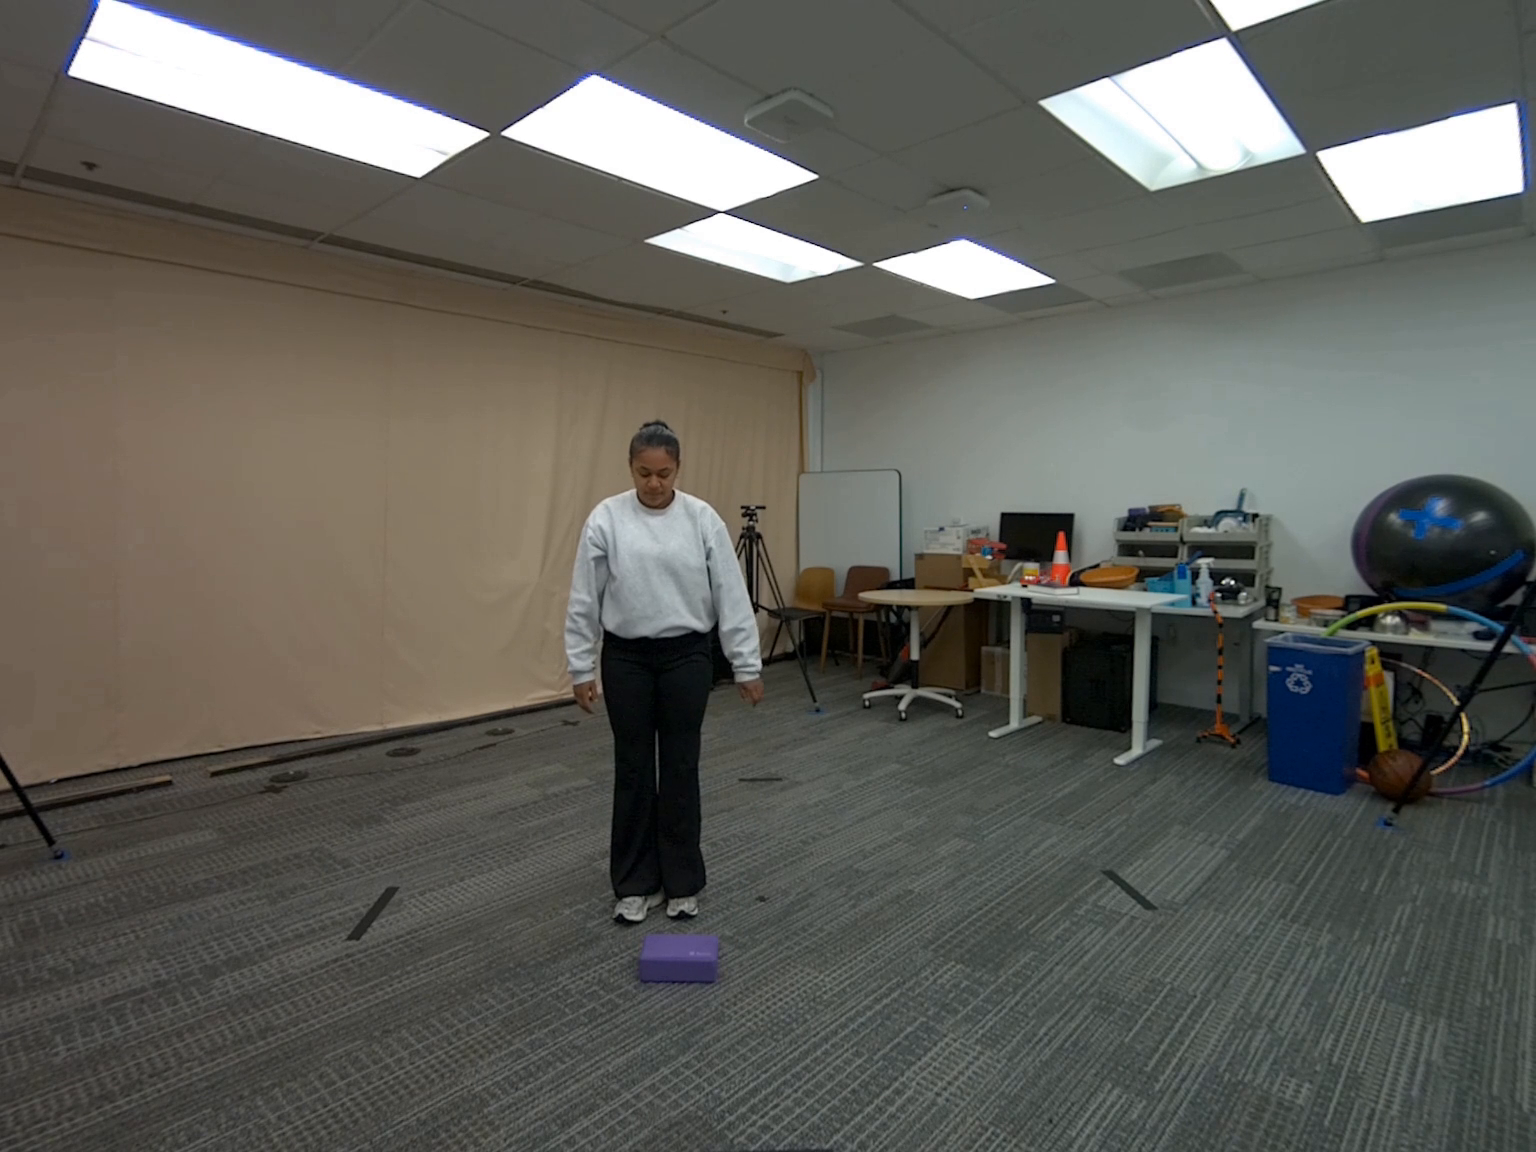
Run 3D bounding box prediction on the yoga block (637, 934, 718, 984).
[{"bbox_3d":[-0.265,1.145,2.524,0.230,0.076,0.149,1,5,3],"label":"yoga block"}]
